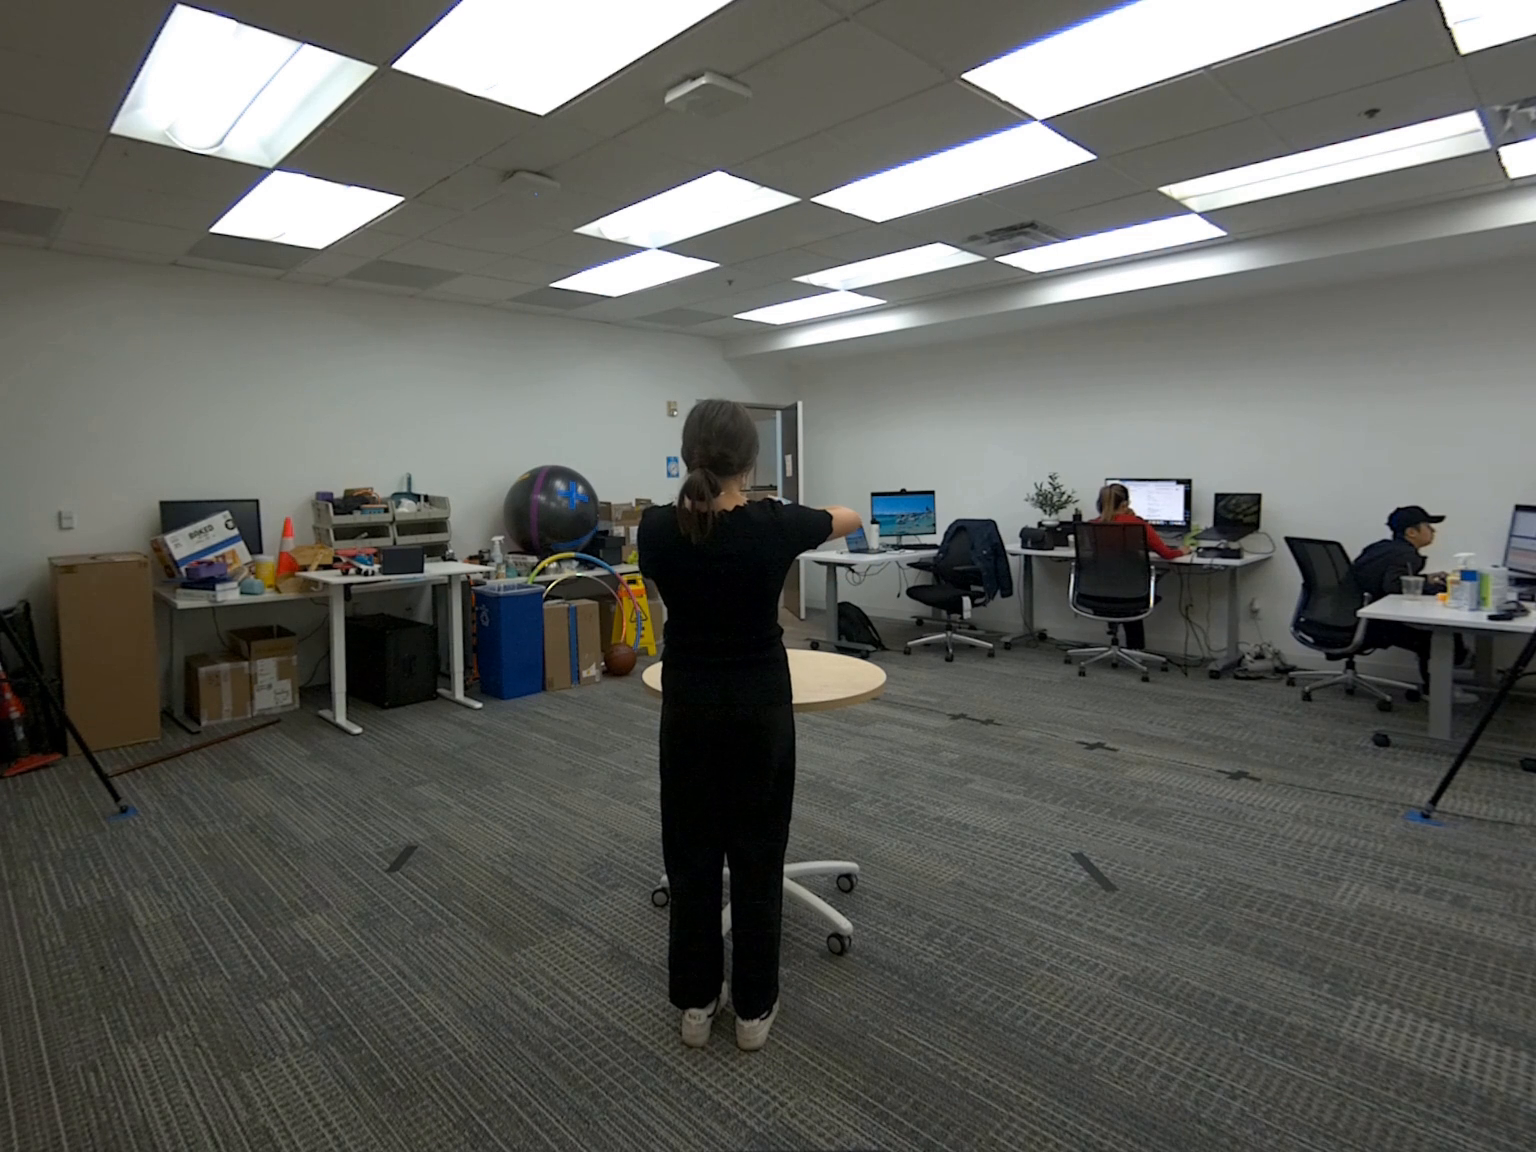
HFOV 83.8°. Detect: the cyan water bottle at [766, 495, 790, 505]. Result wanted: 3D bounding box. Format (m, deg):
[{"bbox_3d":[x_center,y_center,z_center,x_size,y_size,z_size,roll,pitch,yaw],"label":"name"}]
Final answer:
[{"bbox_3d":[0.006,-0.086,2.518,0.092,0.284,0.092,24,-5,0],"label":"cyan water bottle"}]
